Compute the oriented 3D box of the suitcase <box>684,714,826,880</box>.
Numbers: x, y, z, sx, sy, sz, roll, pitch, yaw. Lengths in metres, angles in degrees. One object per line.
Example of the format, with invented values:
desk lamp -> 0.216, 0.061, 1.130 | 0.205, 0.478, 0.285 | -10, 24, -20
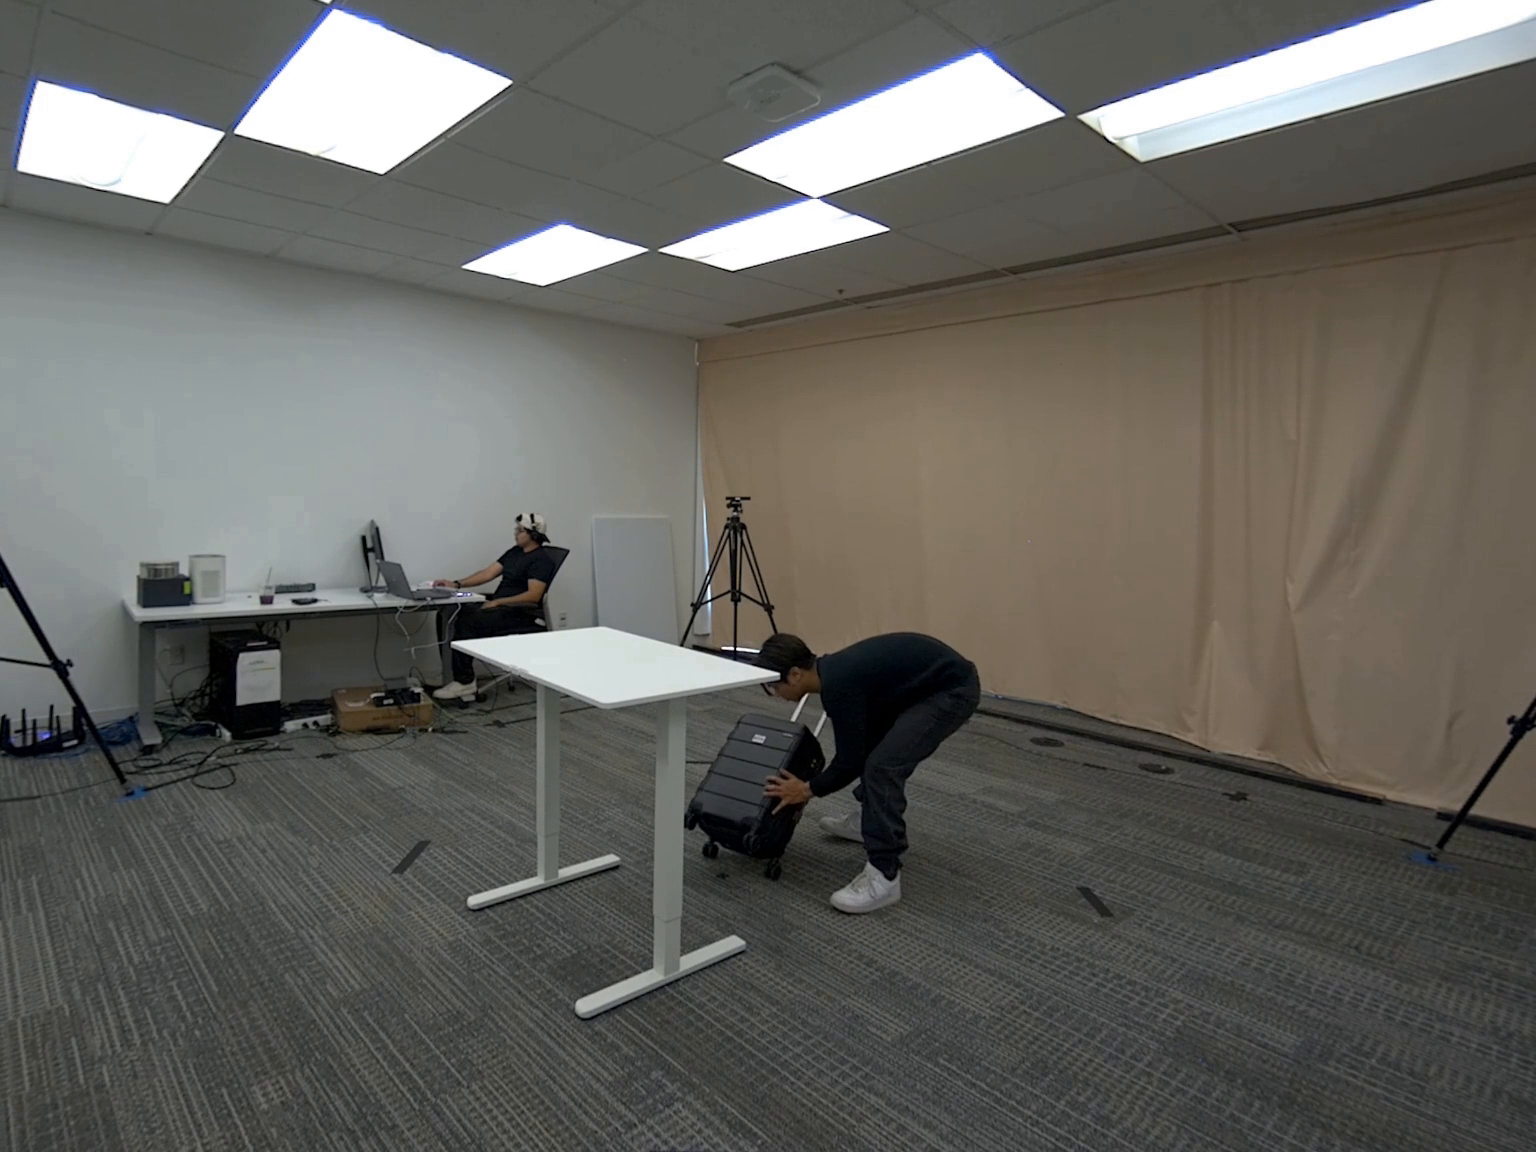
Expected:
suitcase -> 0.050, 0.666, 3.373 | 0.393, 0.249, 0.984 | 3, 47, 35
